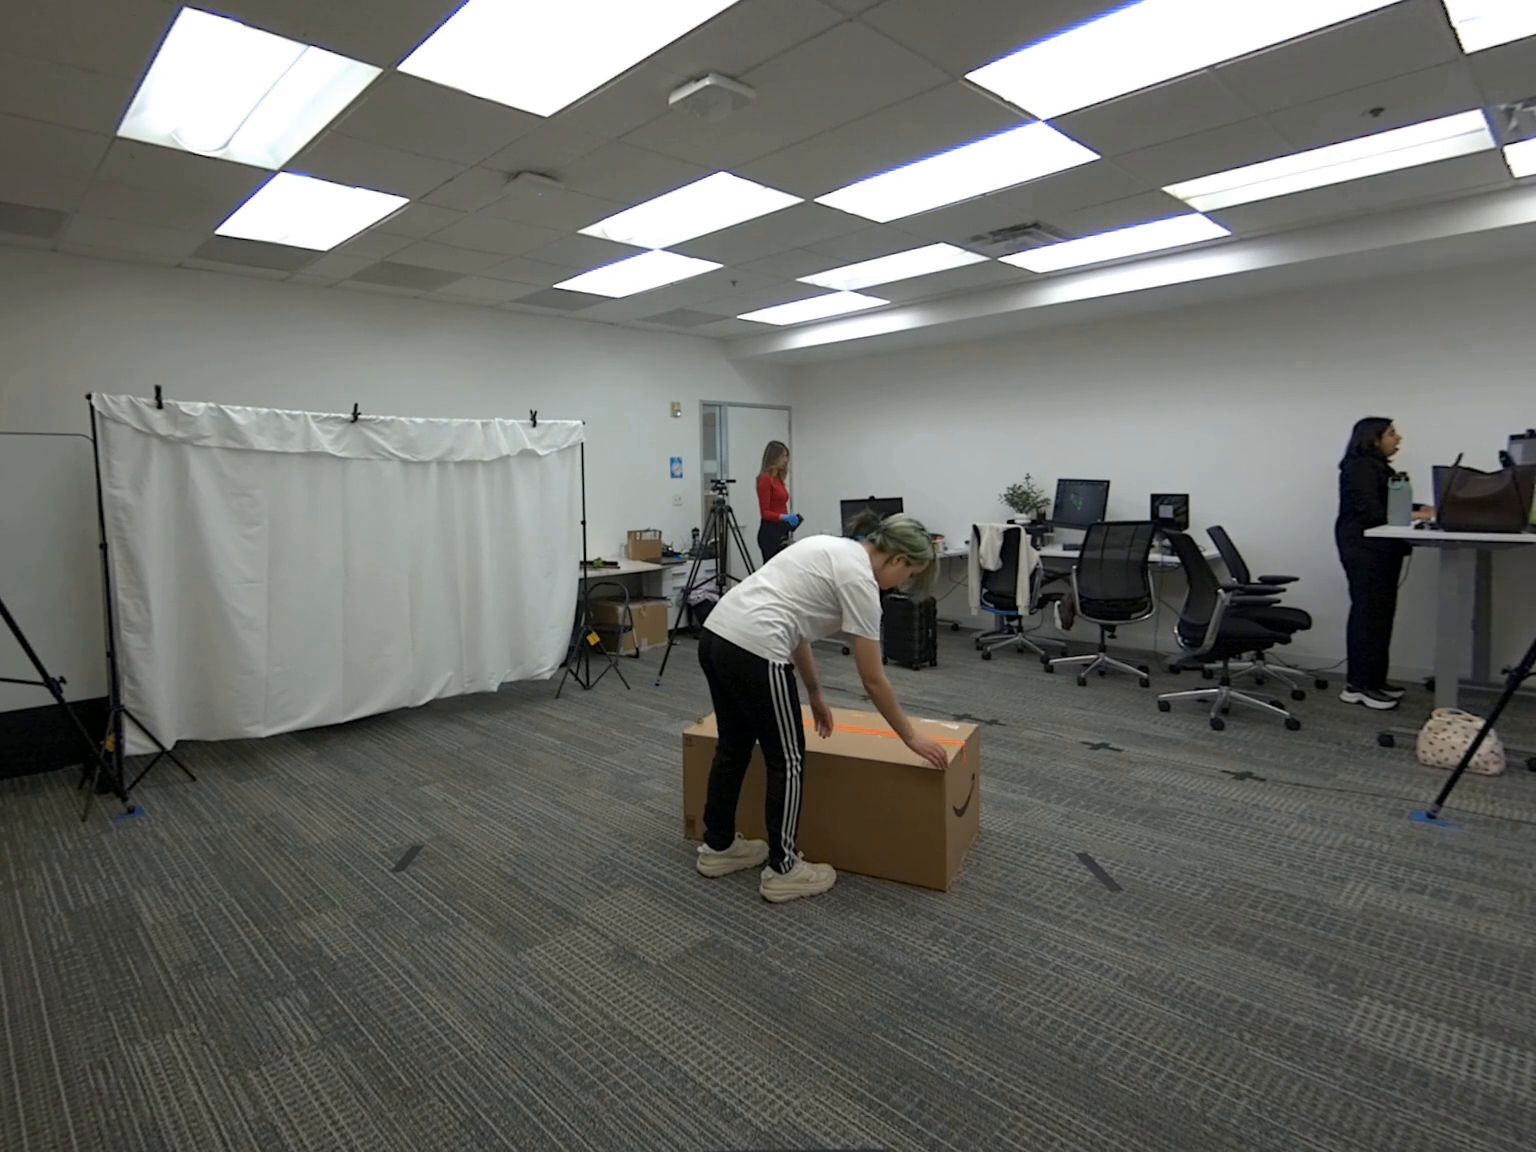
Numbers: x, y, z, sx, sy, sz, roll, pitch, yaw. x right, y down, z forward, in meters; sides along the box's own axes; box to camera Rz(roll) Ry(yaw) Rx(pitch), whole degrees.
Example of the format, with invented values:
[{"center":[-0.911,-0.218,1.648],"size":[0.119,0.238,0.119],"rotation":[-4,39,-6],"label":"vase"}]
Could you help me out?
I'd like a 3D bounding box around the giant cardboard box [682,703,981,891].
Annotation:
[{"center":[0.247,0.798,3.344],"size":[1.050,0.424,0.566],"rotation":[2,6,26],"label":"giant cardboard box"}]
